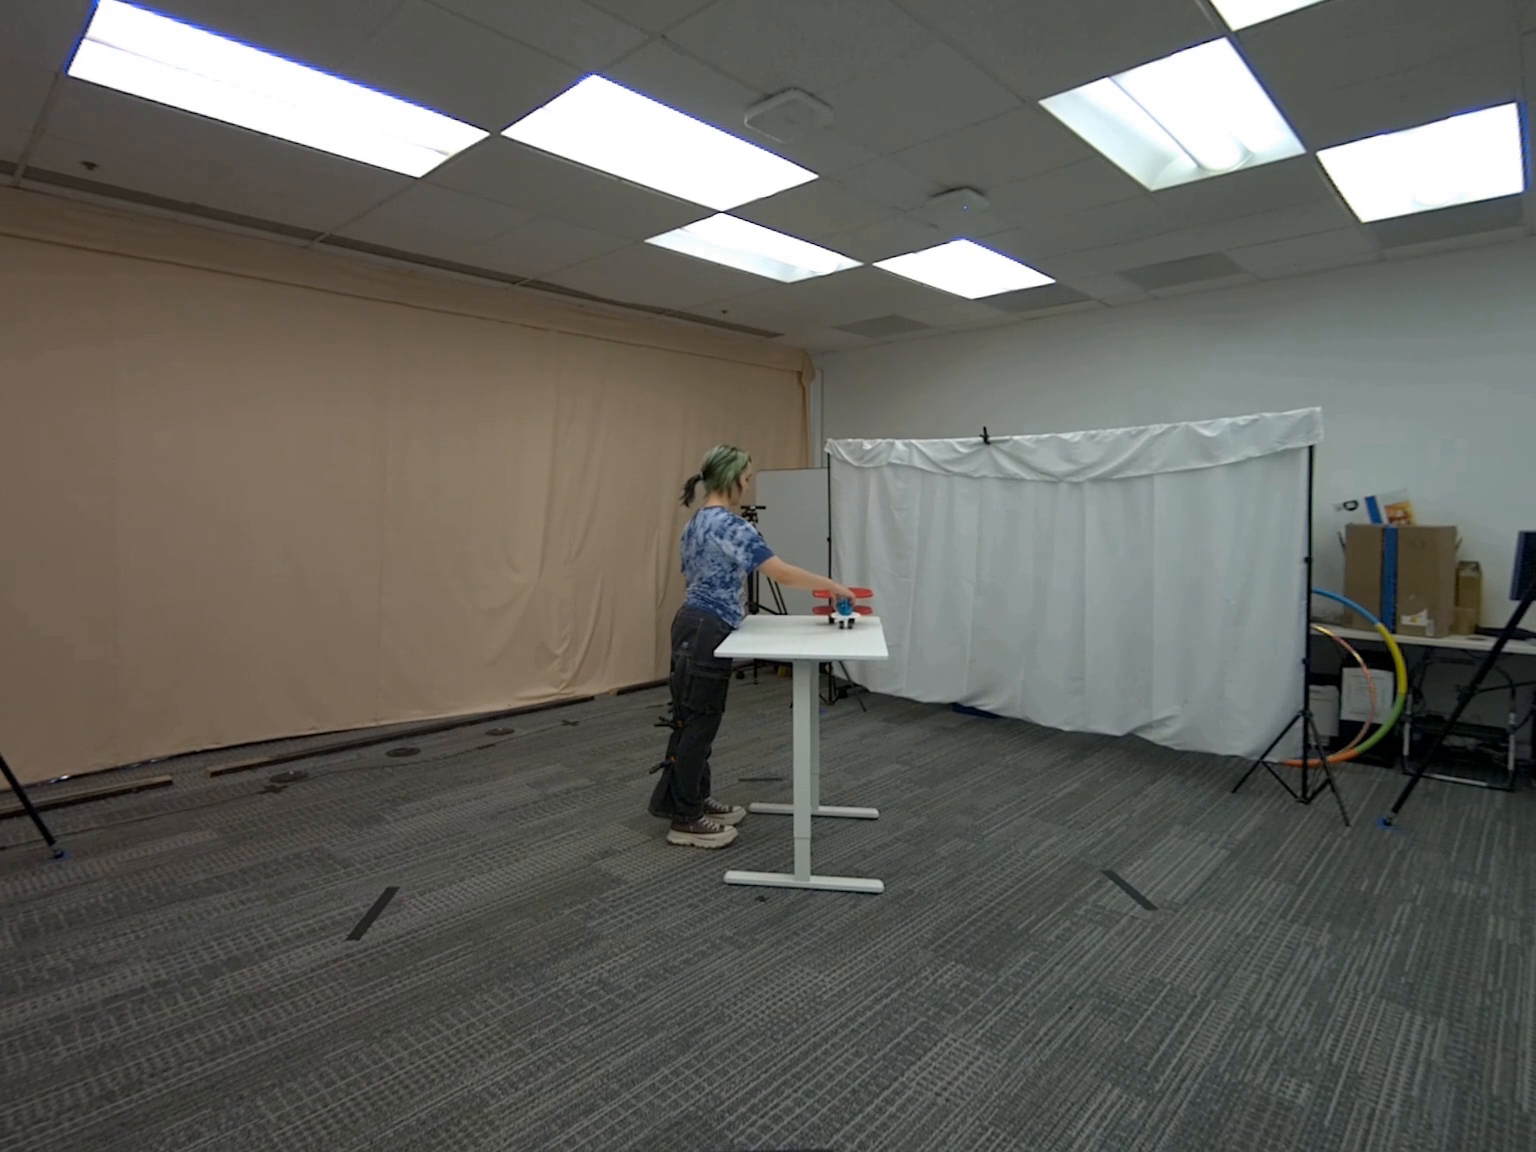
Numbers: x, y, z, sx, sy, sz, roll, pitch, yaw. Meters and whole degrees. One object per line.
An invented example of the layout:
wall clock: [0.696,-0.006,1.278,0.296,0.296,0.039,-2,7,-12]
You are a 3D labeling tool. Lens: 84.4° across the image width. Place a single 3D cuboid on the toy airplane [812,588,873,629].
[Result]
toy airplane: [0.344,0.134,3.565,0.245,0.156,0.266,-2,3,-27]
